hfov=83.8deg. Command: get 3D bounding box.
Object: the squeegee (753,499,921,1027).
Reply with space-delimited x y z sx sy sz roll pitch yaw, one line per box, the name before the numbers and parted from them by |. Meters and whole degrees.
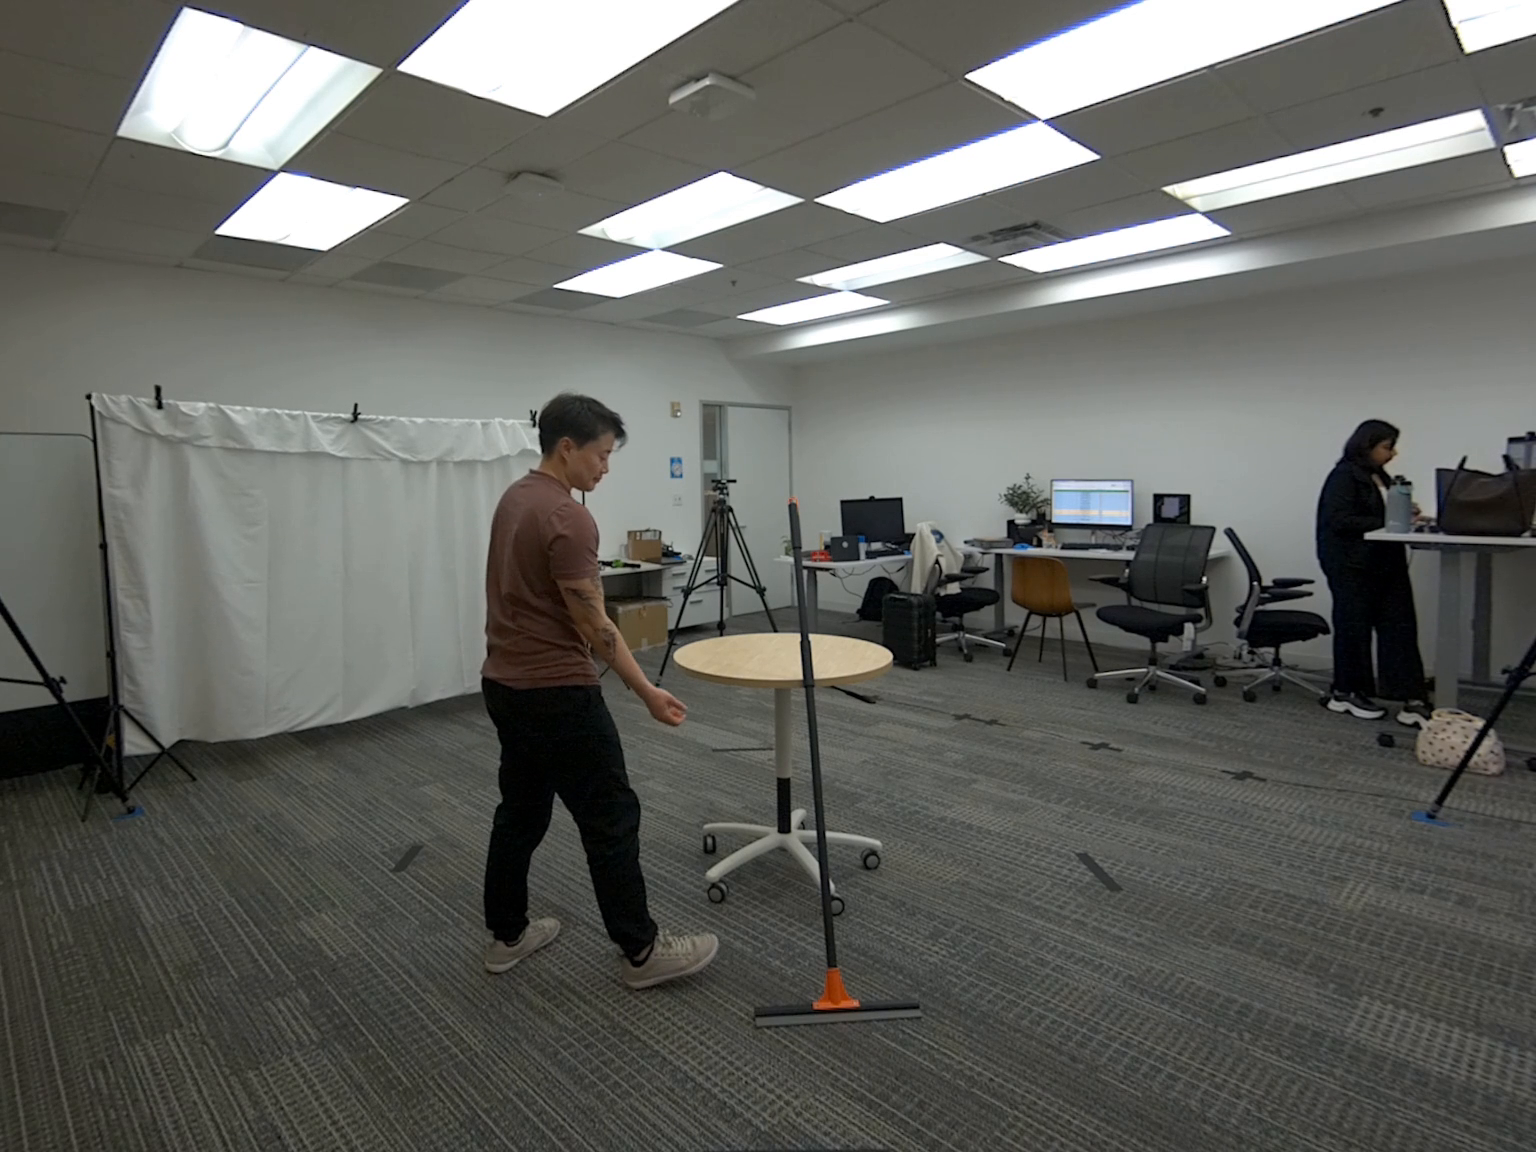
squeegee | 0.143 0.441 2.550 0.437 1.572 0.052 -2 -25 -1
